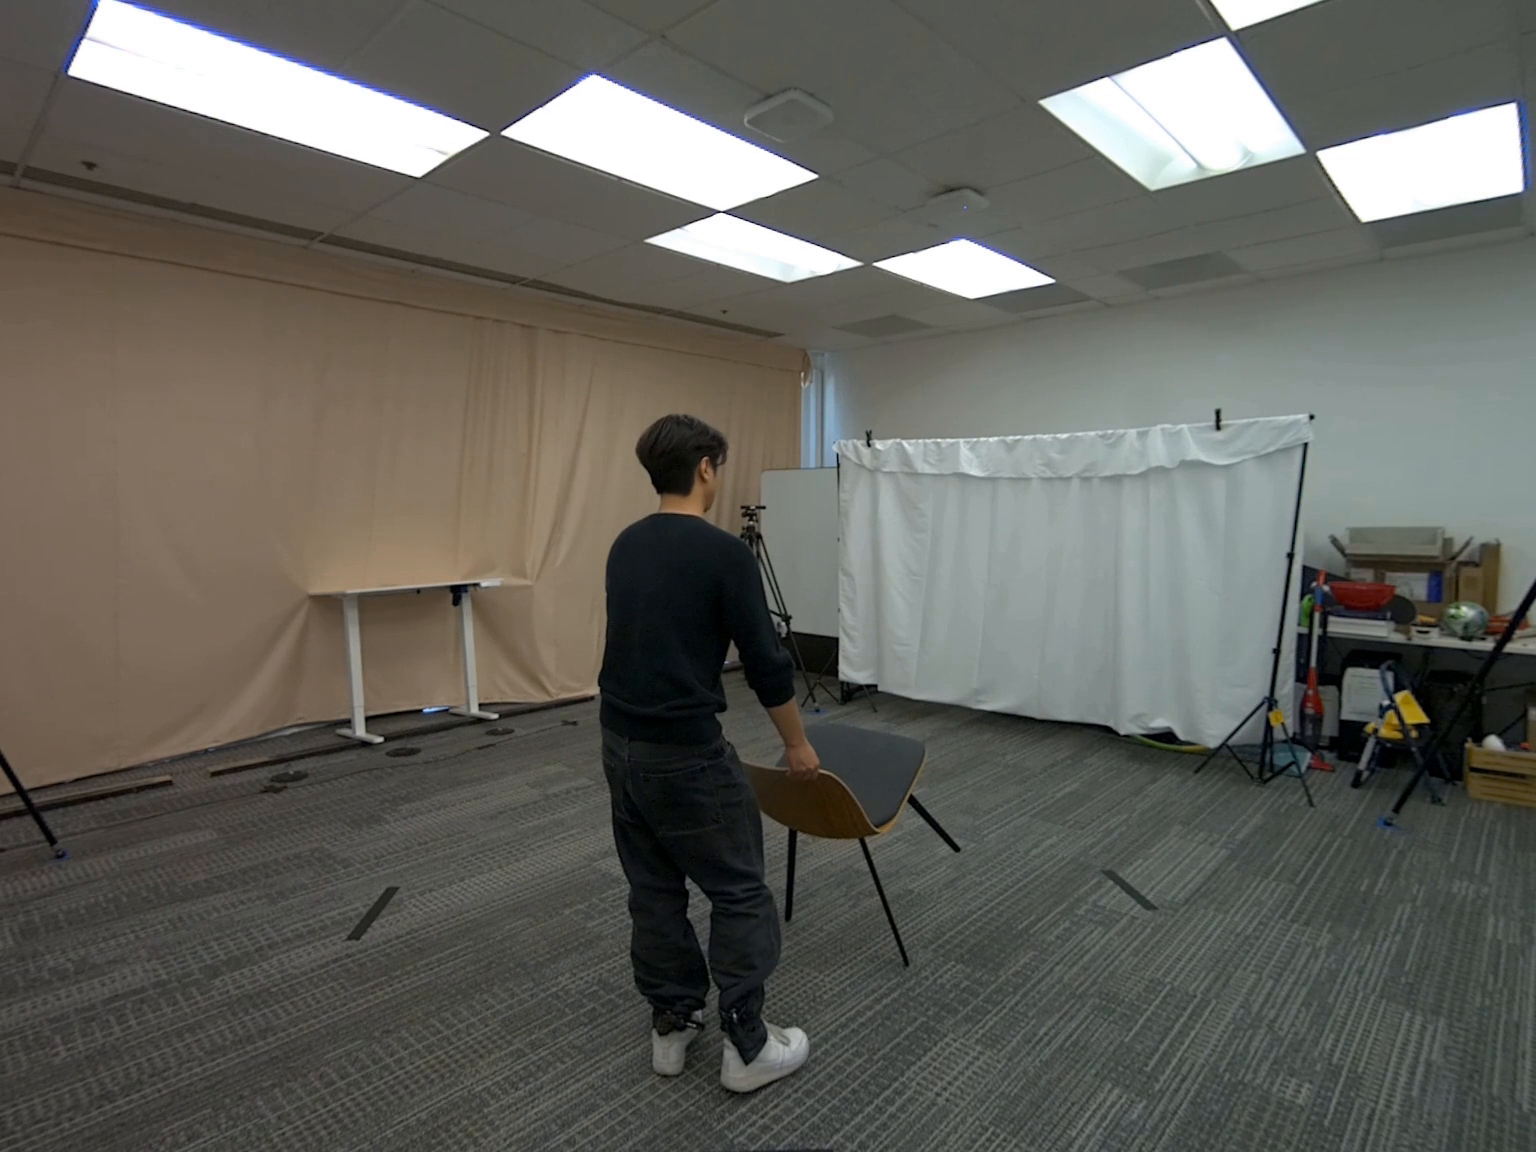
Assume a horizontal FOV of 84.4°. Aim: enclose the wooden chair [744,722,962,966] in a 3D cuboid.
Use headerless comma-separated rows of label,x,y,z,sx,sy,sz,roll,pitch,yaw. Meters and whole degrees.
wooden chair,0.238,0.685,2.648,0.494,0.855,0.520,3,40,38
